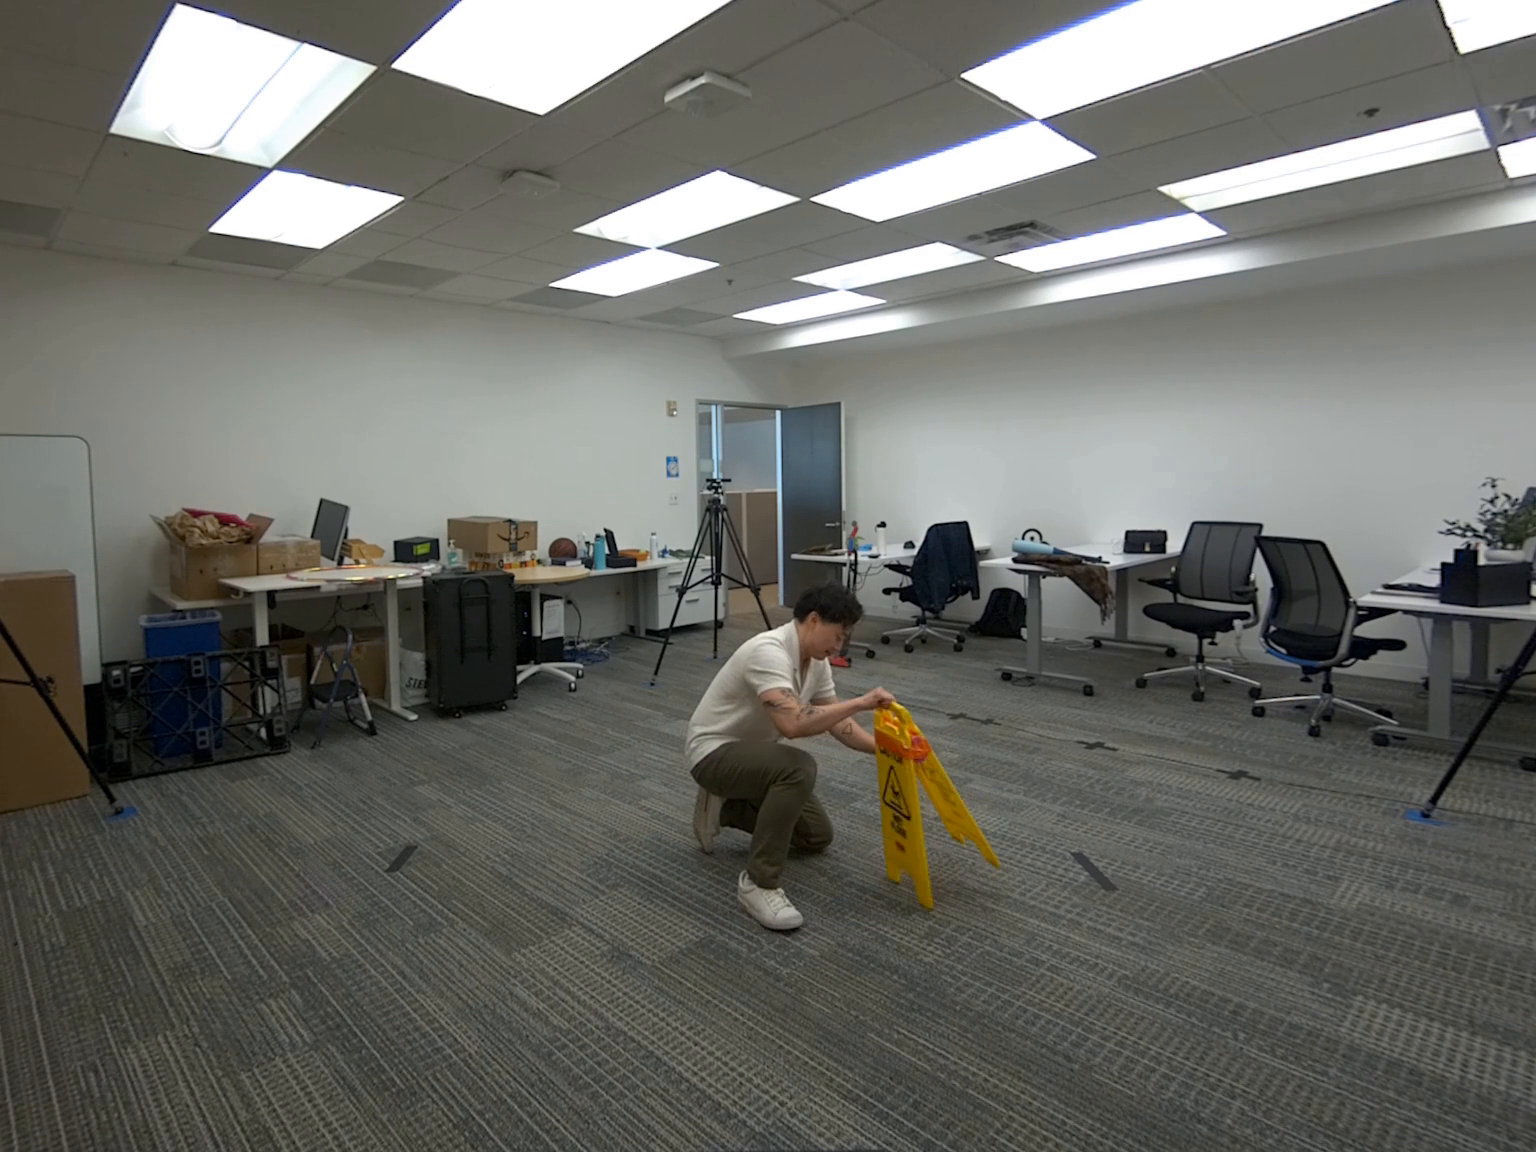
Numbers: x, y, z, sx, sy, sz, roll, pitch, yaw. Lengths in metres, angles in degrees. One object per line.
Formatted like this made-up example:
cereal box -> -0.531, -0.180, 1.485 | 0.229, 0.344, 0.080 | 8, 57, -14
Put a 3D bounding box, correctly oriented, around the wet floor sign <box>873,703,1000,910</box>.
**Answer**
wet floor sign -> 0.491, 0.707, 2.866 | 0.287, 0.638, 0.288 | -22, 11, -18
